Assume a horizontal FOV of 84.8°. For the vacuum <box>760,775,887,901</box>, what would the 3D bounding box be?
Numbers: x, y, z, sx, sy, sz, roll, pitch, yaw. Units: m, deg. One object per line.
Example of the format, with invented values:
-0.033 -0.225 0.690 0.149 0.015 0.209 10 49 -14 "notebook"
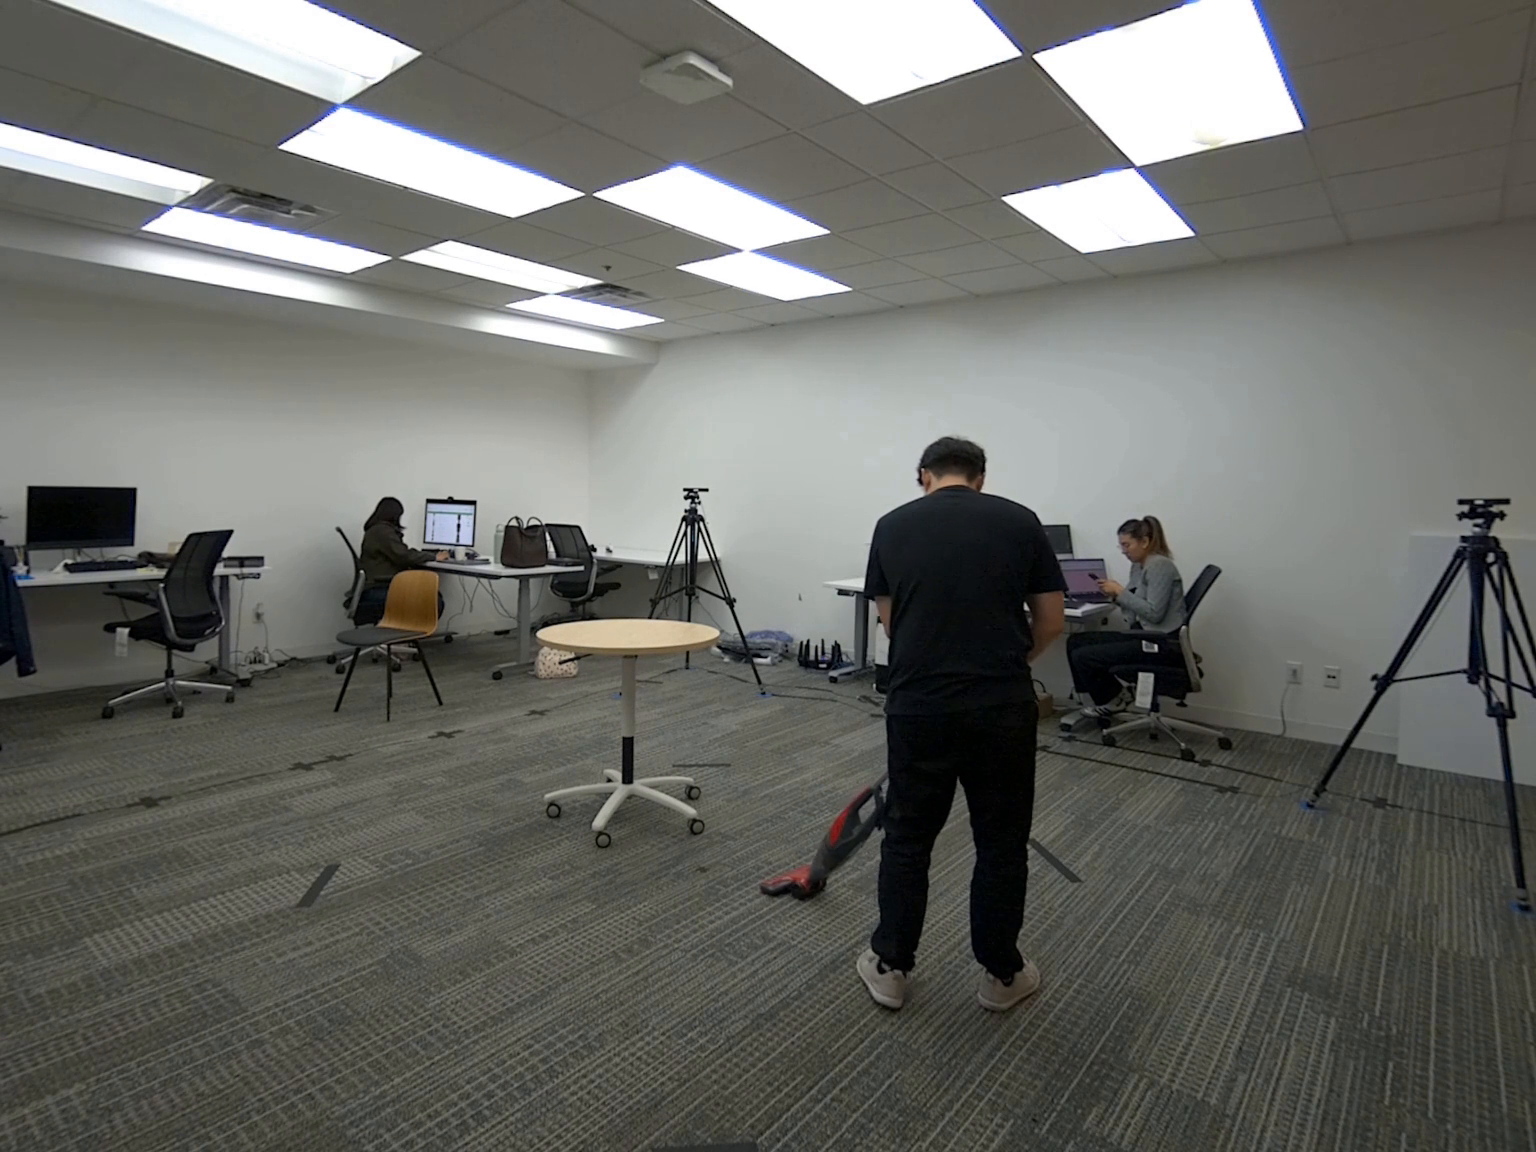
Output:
0.349 0.722 2.726 0.245 1.044 0.149 -2 47 -47 "vacuum"
